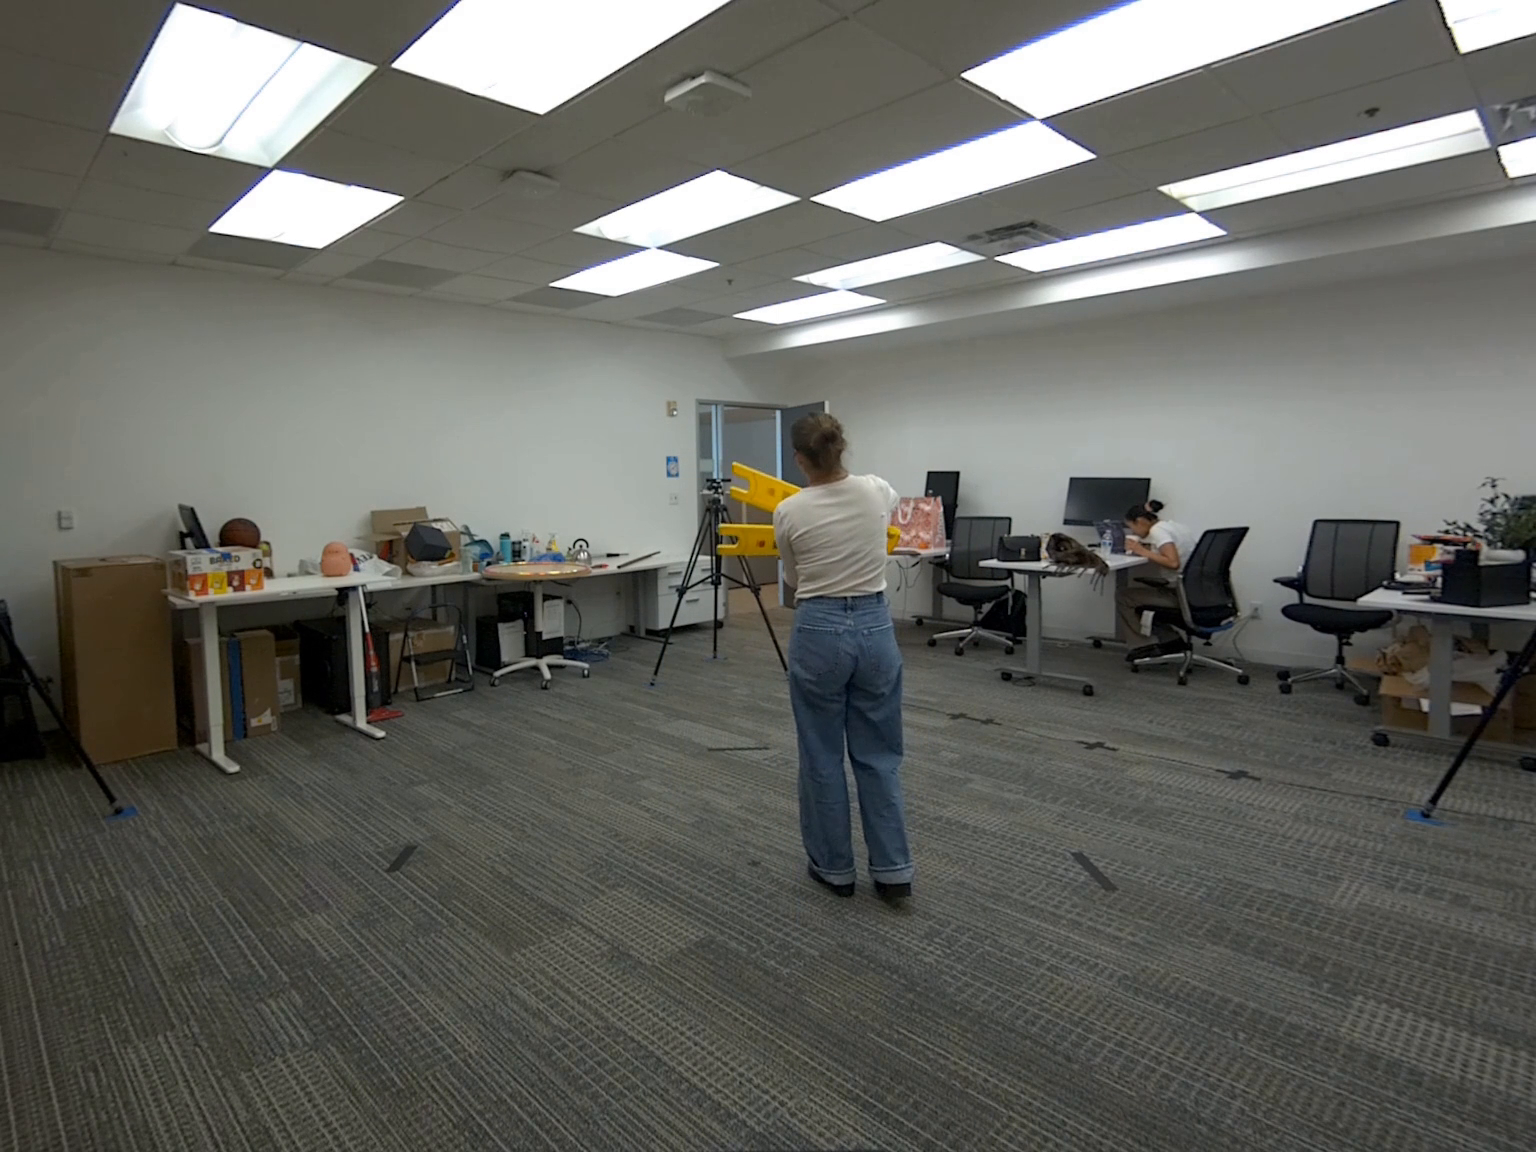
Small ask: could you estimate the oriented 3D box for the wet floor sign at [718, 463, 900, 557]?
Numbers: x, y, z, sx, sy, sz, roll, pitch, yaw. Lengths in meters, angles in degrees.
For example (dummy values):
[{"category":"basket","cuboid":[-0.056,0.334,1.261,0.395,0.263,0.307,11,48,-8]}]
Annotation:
[{"category":"wet floor sign","cuboid":[0.162,-0.187,3.182,0.648,0.294,0.277,10,-22,2]}]
